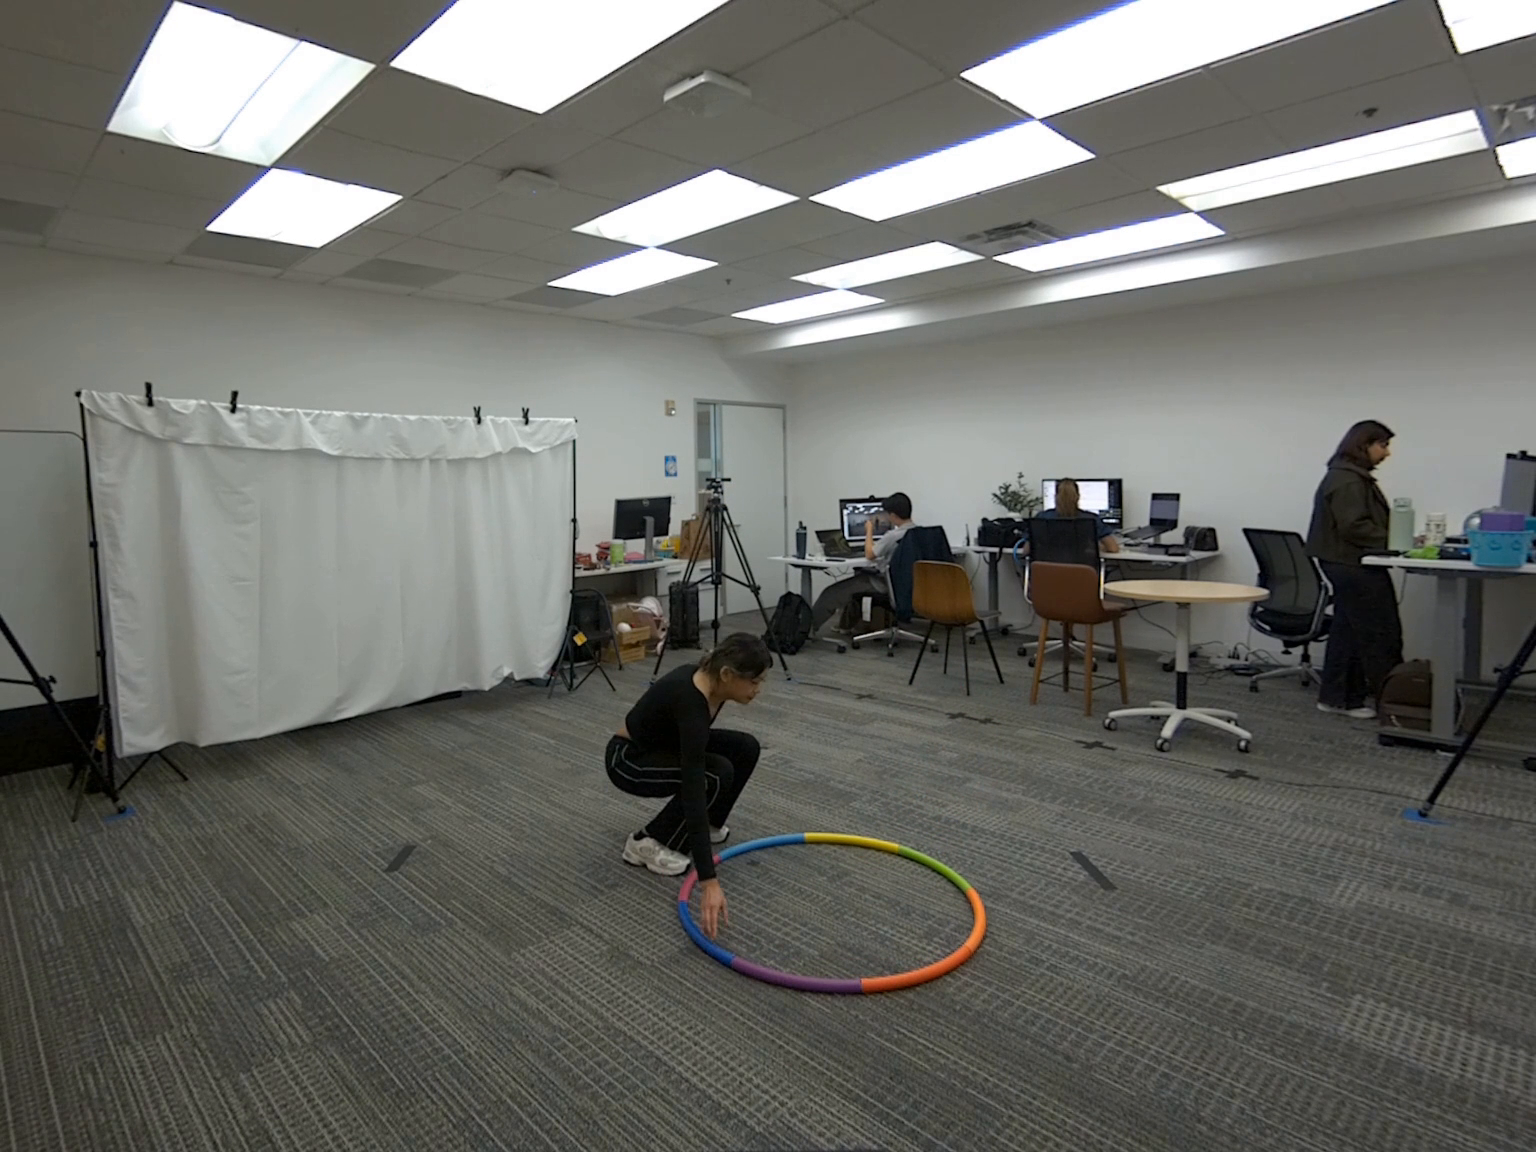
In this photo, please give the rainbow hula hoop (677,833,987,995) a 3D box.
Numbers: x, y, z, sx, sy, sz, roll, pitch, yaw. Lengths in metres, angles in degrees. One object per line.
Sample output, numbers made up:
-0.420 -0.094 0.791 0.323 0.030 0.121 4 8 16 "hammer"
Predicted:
0.194 1.041 2.793 0.978 0.035 0.984 -2 7 -2 "rainbow hula hoop"
